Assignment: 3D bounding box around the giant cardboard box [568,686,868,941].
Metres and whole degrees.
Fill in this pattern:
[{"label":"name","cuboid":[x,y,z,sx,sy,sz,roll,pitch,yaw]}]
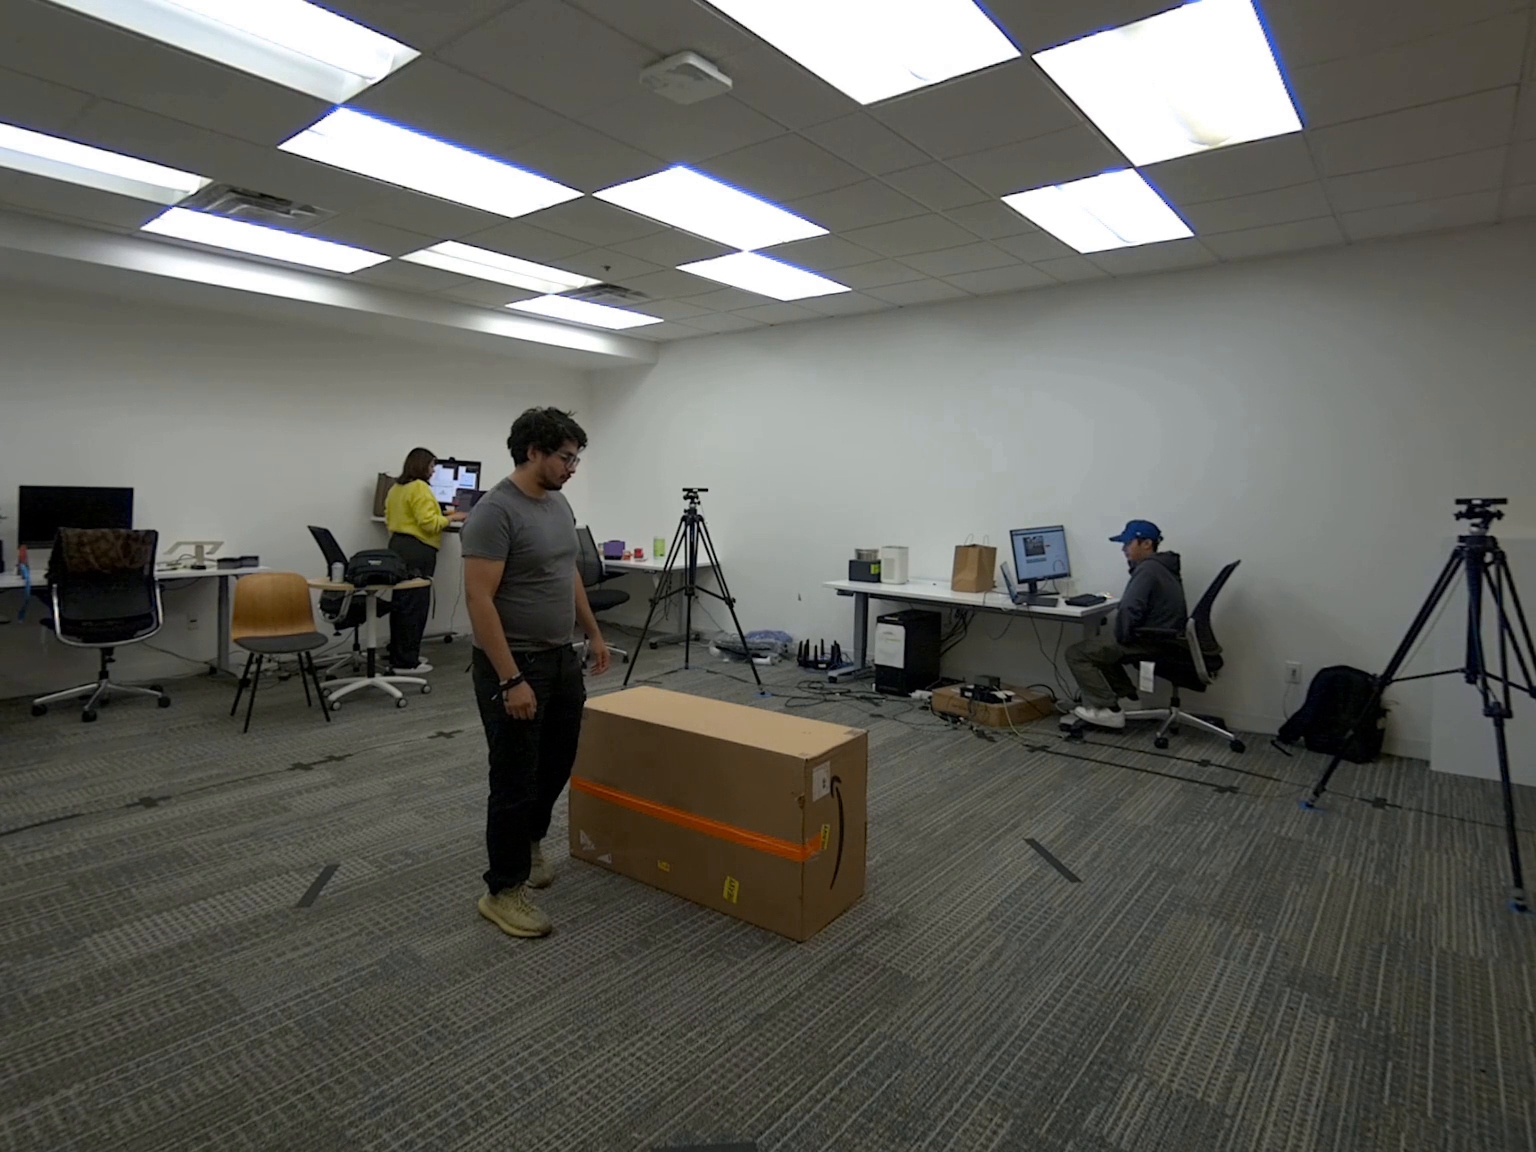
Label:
[{"label":"giant cardboard box","cuboid":[-0.209,0.784,3.057,1.059,0.575,0.414,4,5,35]}]
